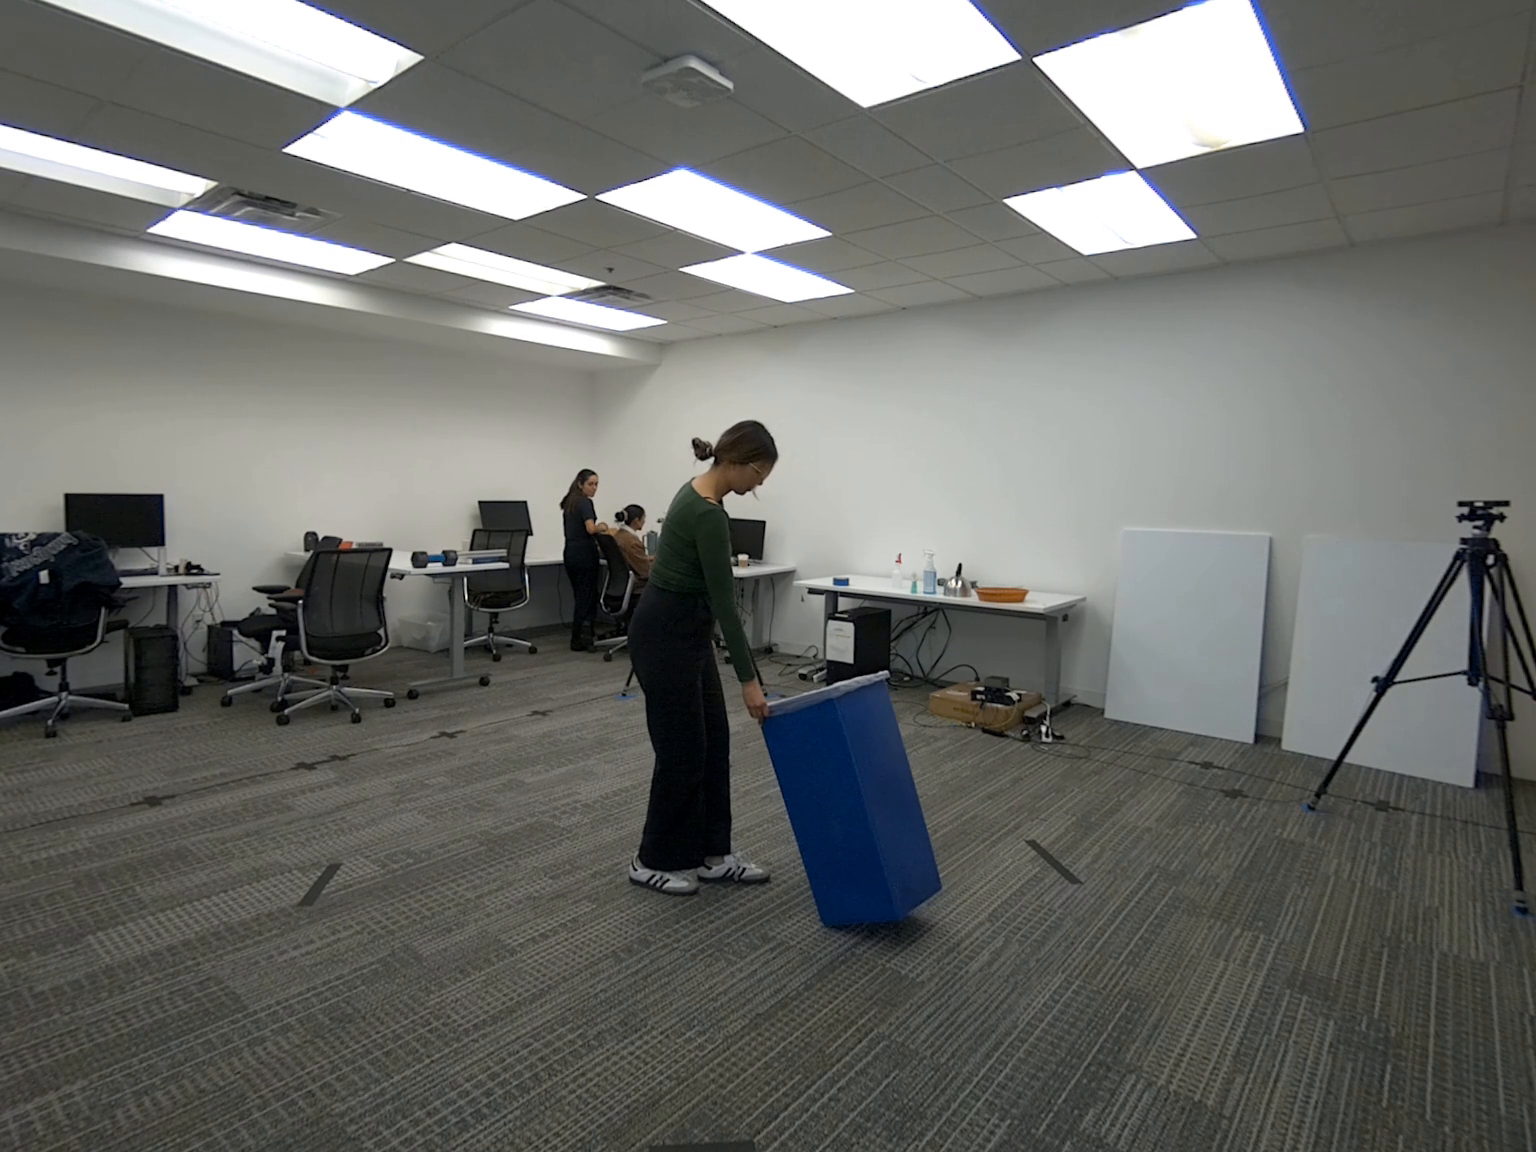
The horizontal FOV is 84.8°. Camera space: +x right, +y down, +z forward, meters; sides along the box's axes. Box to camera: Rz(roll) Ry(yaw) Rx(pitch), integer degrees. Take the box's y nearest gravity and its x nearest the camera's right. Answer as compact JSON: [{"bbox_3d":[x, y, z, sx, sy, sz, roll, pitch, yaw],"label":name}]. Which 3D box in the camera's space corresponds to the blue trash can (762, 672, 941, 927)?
[{"bbox_3d":[0.277,0.724,2.819,0.380,0.724,0.366,-25,-14,37],"label":"blue trash can"}]
